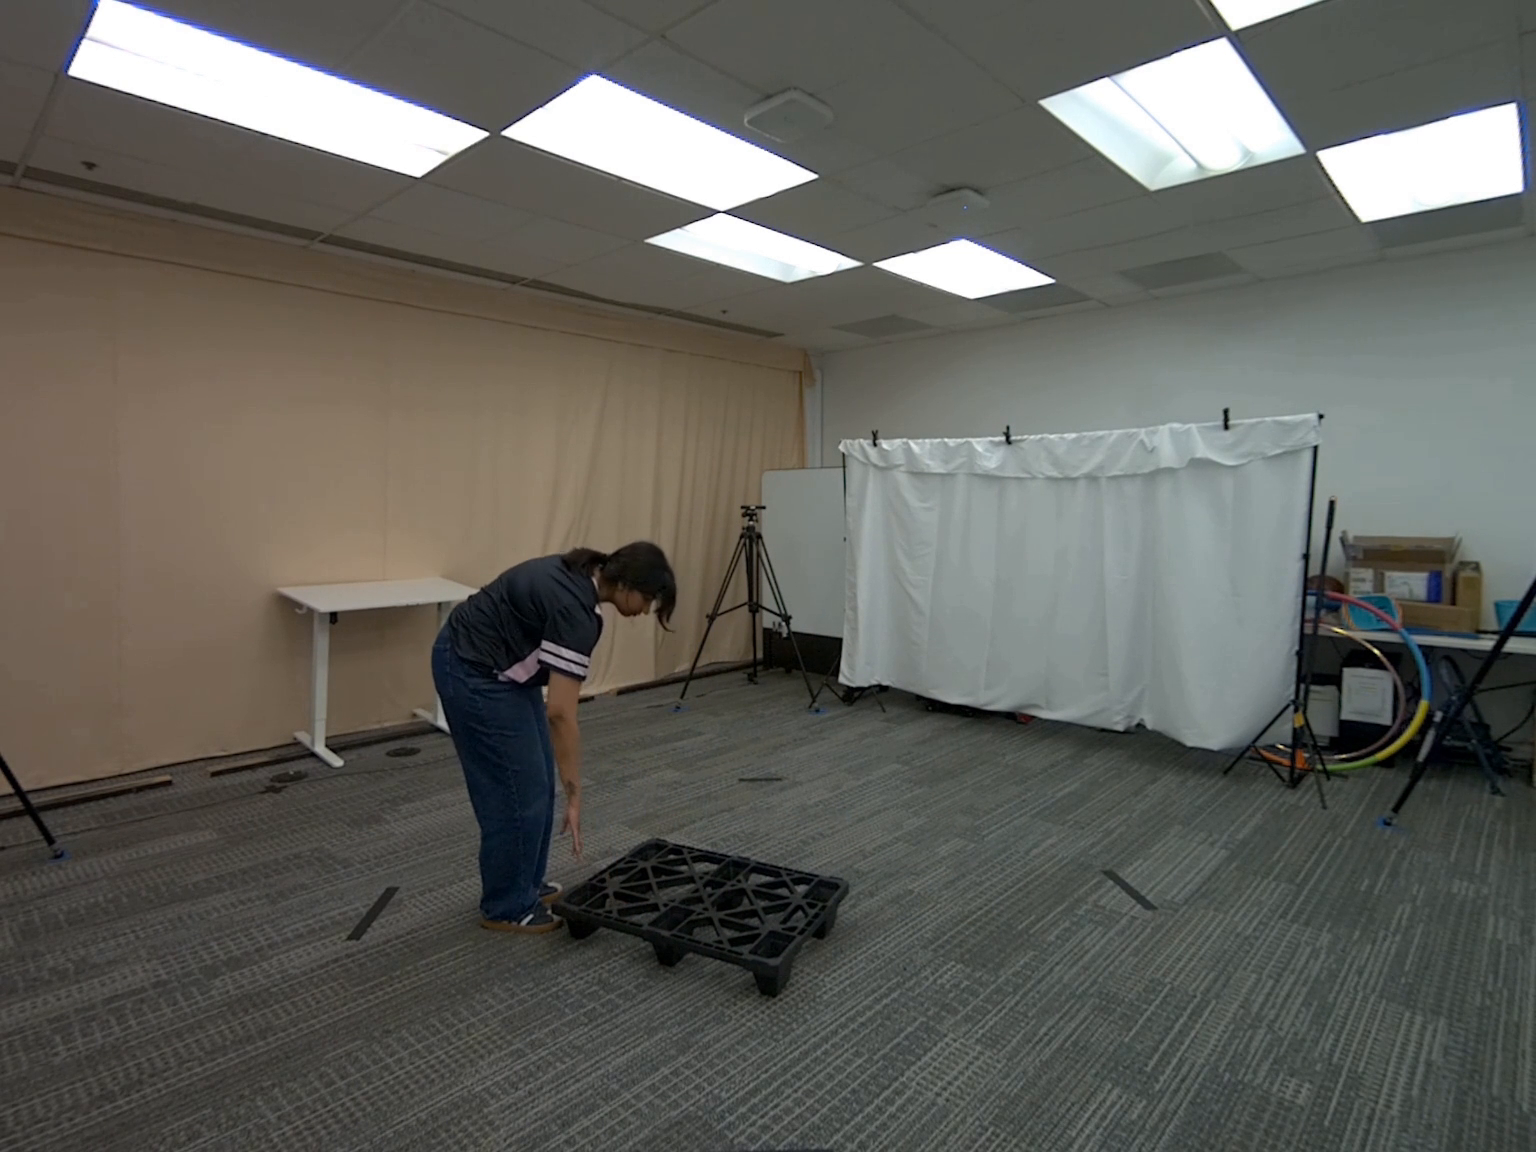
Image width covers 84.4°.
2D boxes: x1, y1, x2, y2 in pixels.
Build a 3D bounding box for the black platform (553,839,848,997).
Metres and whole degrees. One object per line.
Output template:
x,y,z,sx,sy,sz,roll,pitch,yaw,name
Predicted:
-0.207,1.097,2.749,0.827,0.143,0.591,2,6,27,black platform
